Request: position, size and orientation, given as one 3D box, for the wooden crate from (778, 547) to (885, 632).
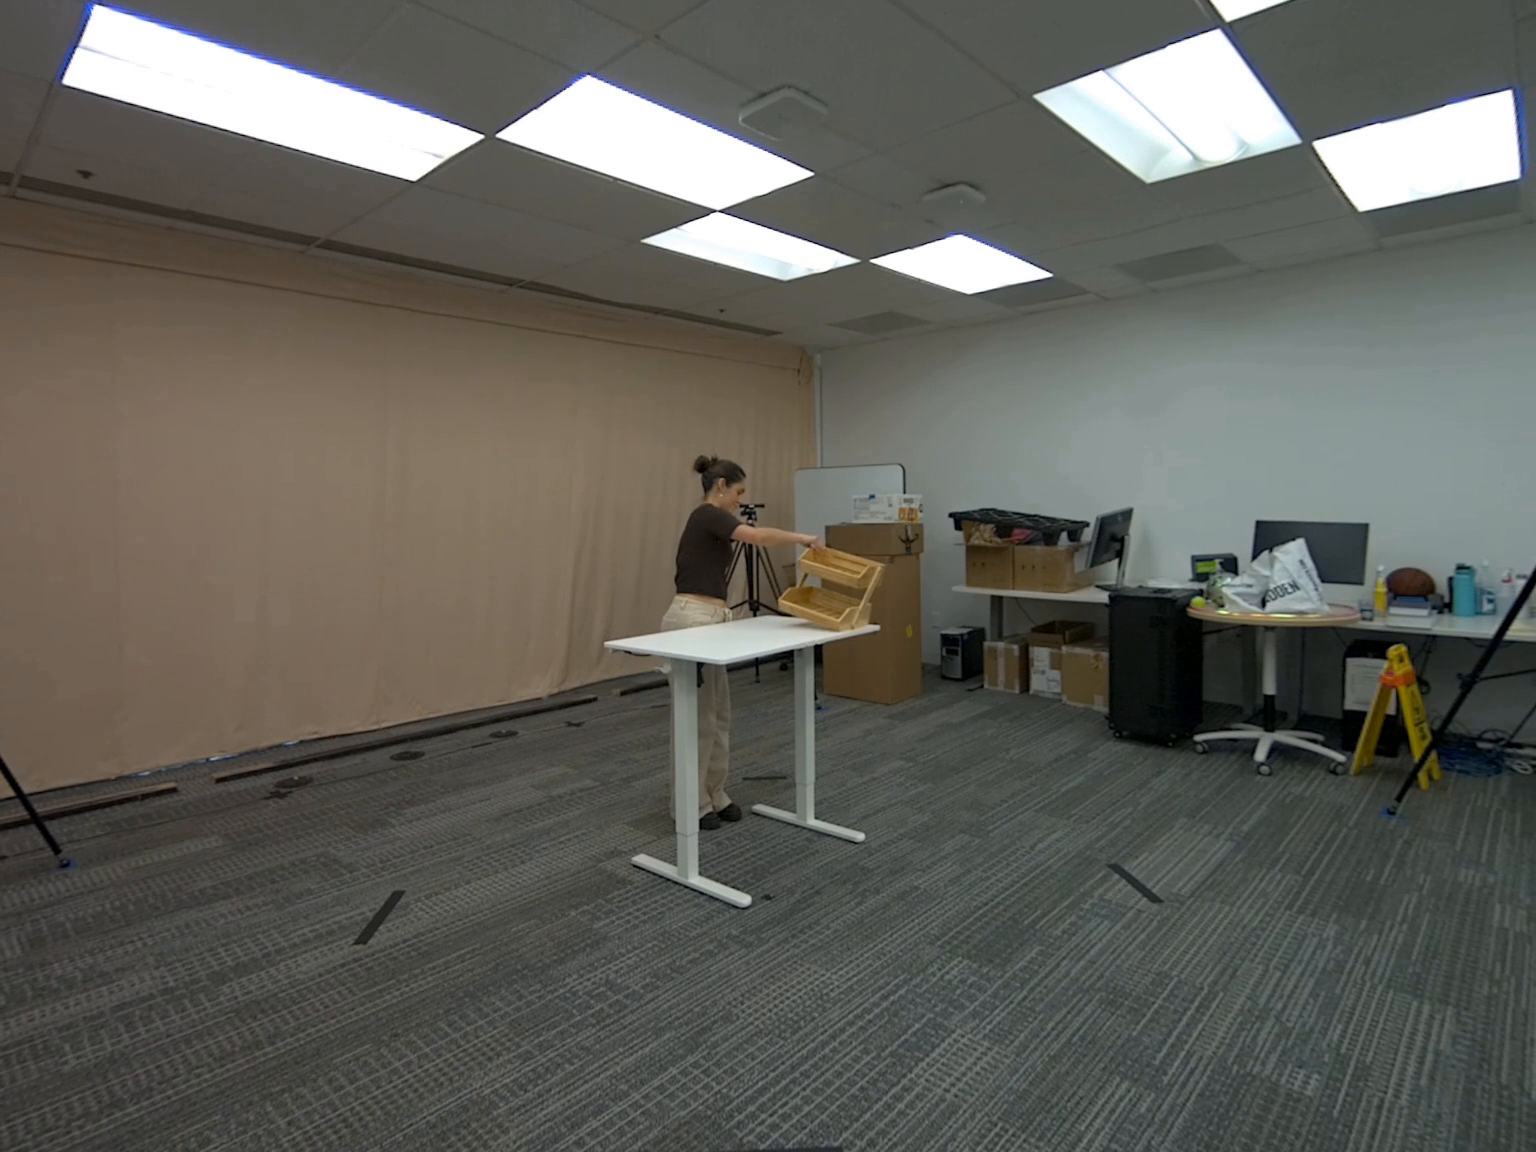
[{"bbox_3d":[0.265,0.046,3.503,0.336,0.272,0.293,18,13,34],"label":"wooden crate"}]
